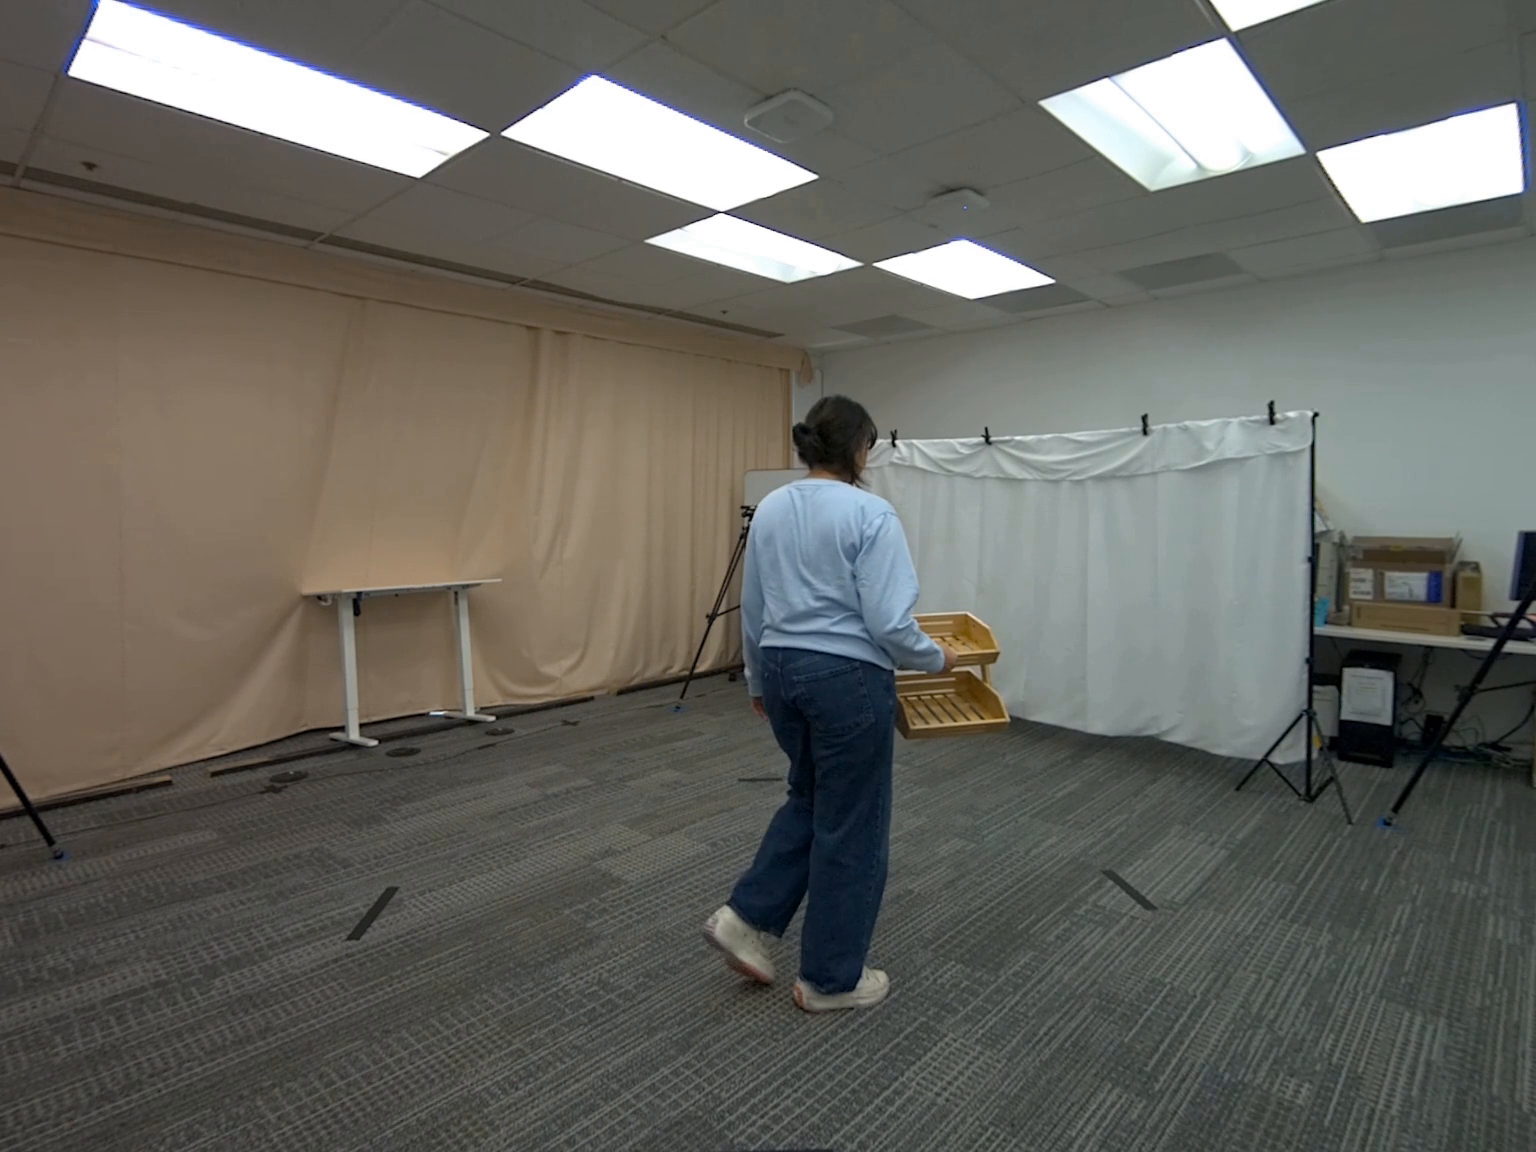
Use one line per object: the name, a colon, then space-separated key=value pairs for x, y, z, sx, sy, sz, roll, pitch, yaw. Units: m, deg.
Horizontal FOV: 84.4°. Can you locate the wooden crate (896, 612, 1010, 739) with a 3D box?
wooden crate: x=0.511 y=0.294 z=2.437 sx=0.321 sy=0.270 sz=0.309 roll=-3 pitch=19 yaw=-11
